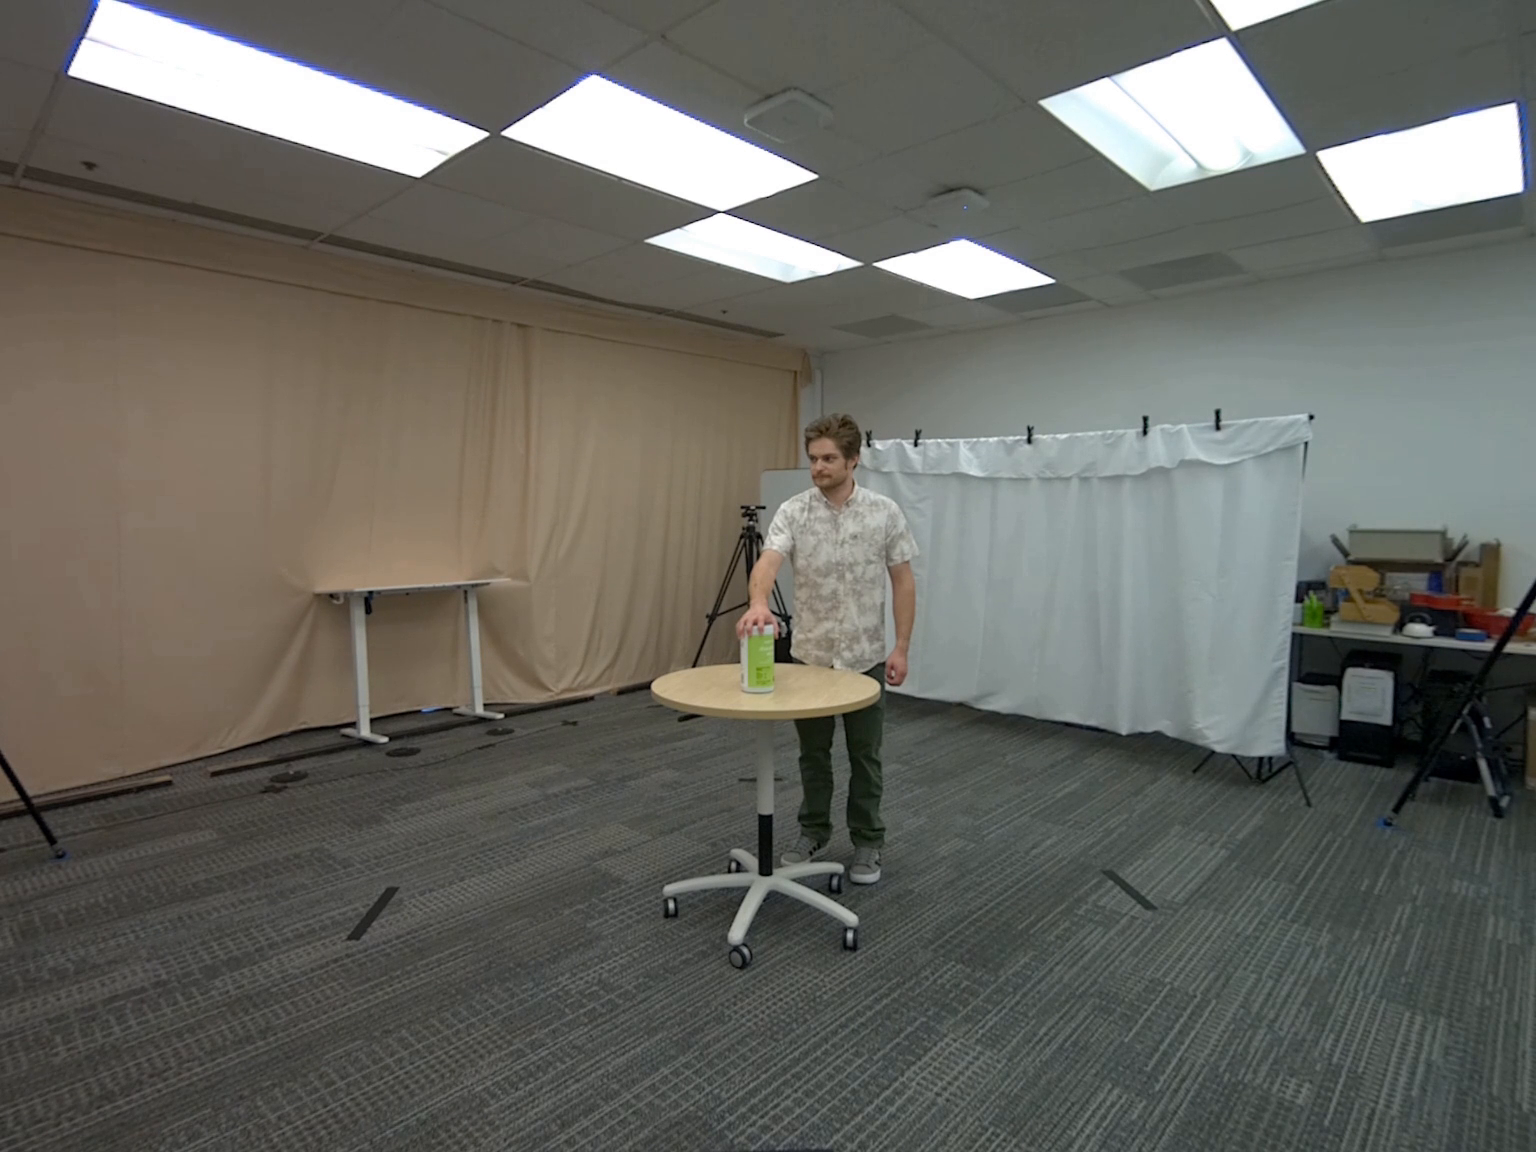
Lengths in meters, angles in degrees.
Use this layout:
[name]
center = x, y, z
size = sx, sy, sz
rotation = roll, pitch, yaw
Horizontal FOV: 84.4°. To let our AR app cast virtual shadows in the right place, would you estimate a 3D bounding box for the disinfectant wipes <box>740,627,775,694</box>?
[disinfectant wipes]
center = -0.037, 0.265, 2.732
size = 0.118, 0.217, 0.118
rotation = 1, 1, -2
